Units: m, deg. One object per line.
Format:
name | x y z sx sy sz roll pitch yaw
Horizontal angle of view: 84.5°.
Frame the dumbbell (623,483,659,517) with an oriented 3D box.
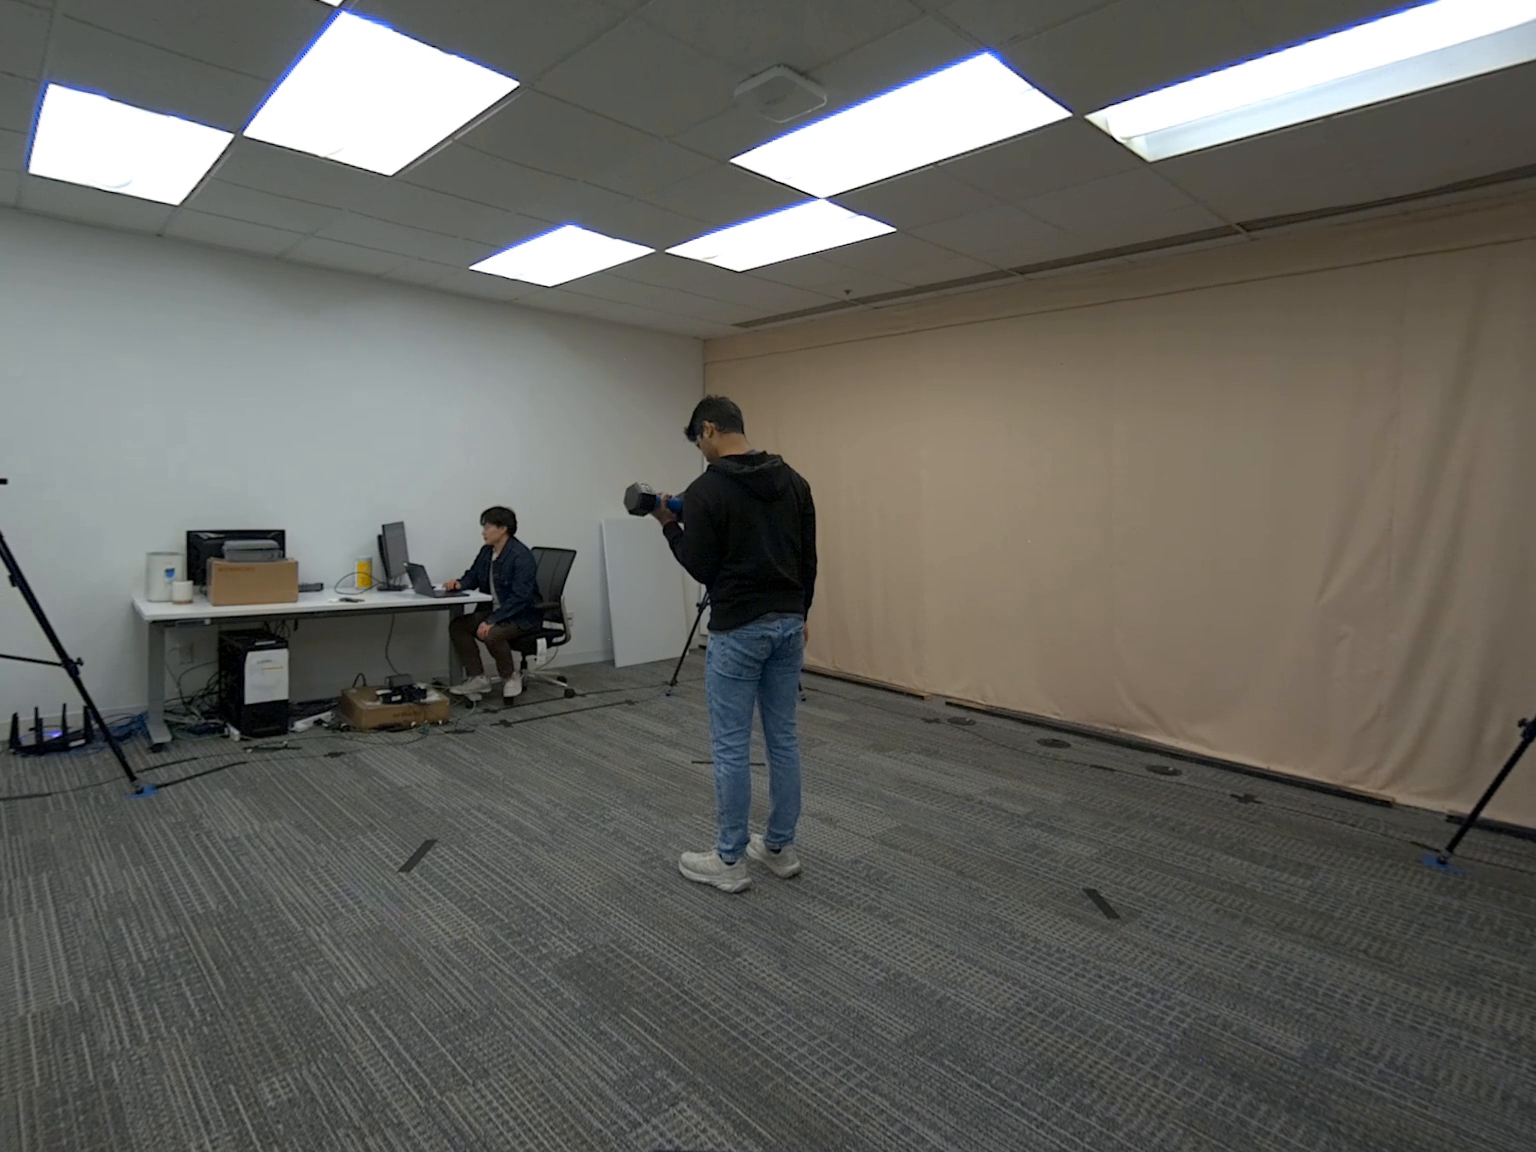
dumbbell | -0.391 -0.248 3.111 0.286 0.123 0.112 9 5 -40
